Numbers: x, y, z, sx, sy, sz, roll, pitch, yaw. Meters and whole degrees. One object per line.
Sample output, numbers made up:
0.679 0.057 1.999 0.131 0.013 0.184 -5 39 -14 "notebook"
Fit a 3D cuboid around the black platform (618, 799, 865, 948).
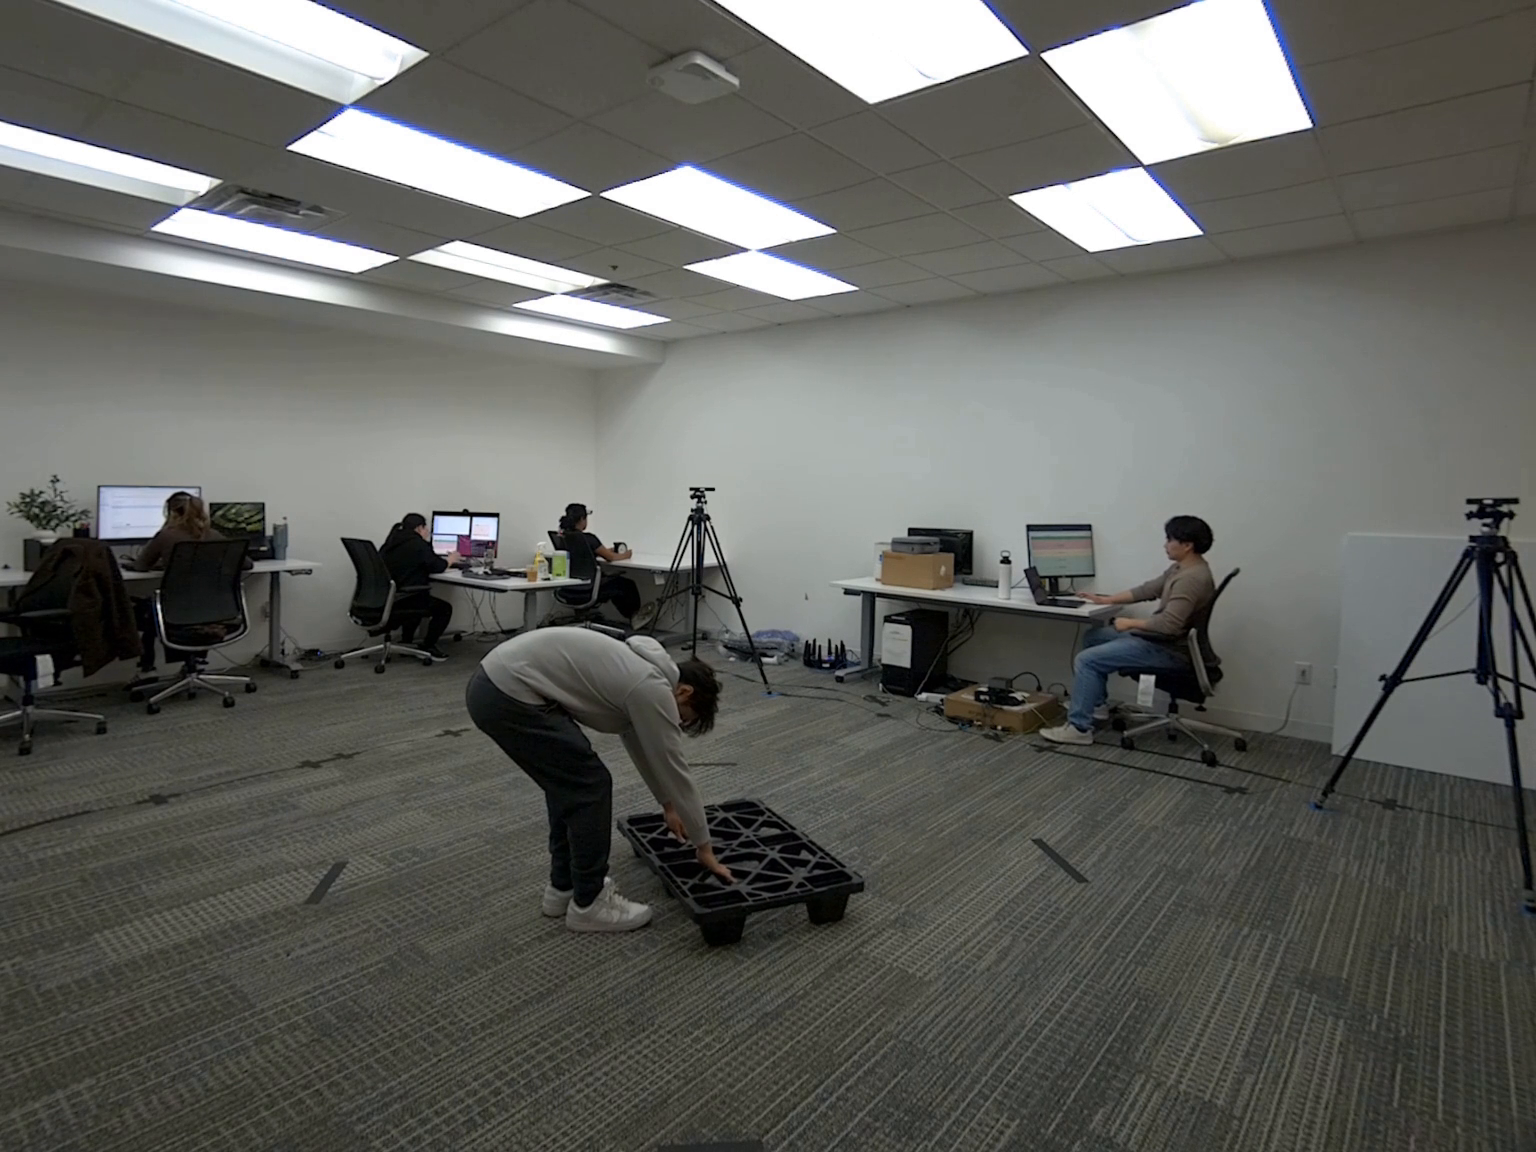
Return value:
-0.141 1.010 2.987 0.591 0.143 0.828 -2 6 -26 "black platform"
